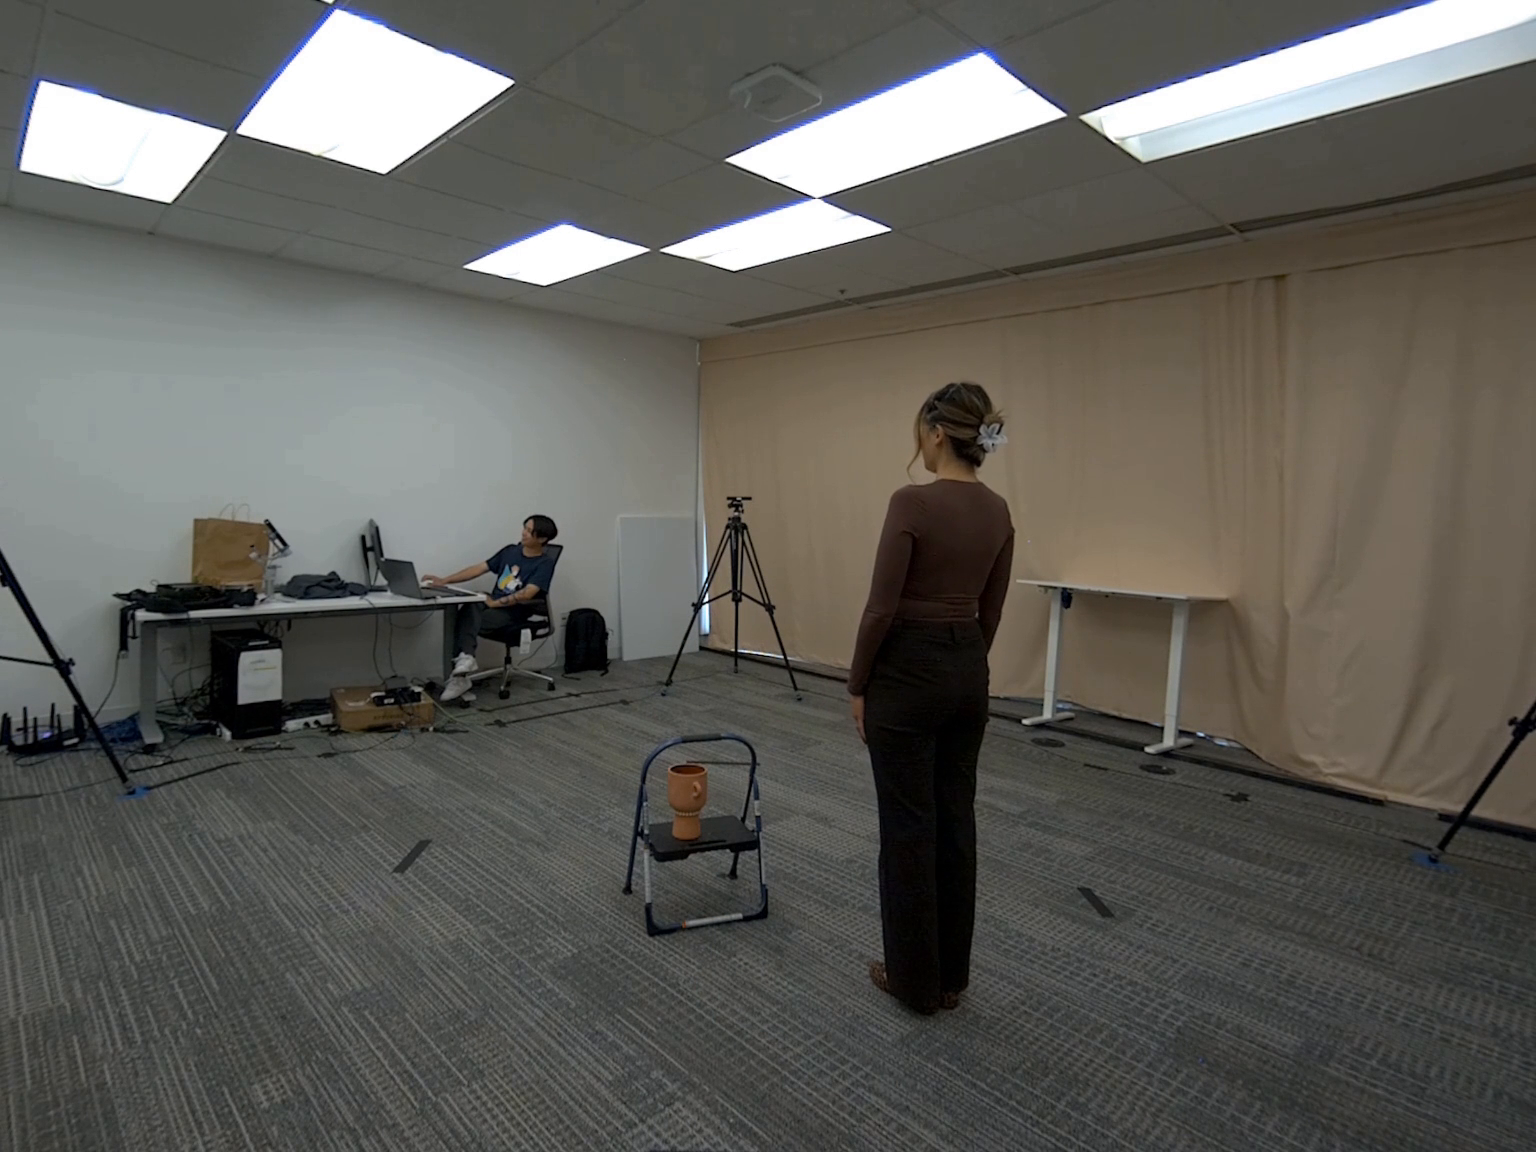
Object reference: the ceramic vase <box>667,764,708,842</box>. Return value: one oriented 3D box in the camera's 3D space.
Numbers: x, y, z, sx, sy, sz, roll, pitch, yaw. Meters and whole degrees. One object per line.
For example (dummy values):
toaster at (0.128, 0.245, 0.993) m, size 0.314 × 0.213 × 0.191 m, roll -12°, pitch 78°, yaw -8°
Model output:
ceramic vase at (-0.279, 0.754, 2.816) m, size 0.136 × 0.219 × 0.158 m, roll 1°, pitch 2°, yaw 9°
